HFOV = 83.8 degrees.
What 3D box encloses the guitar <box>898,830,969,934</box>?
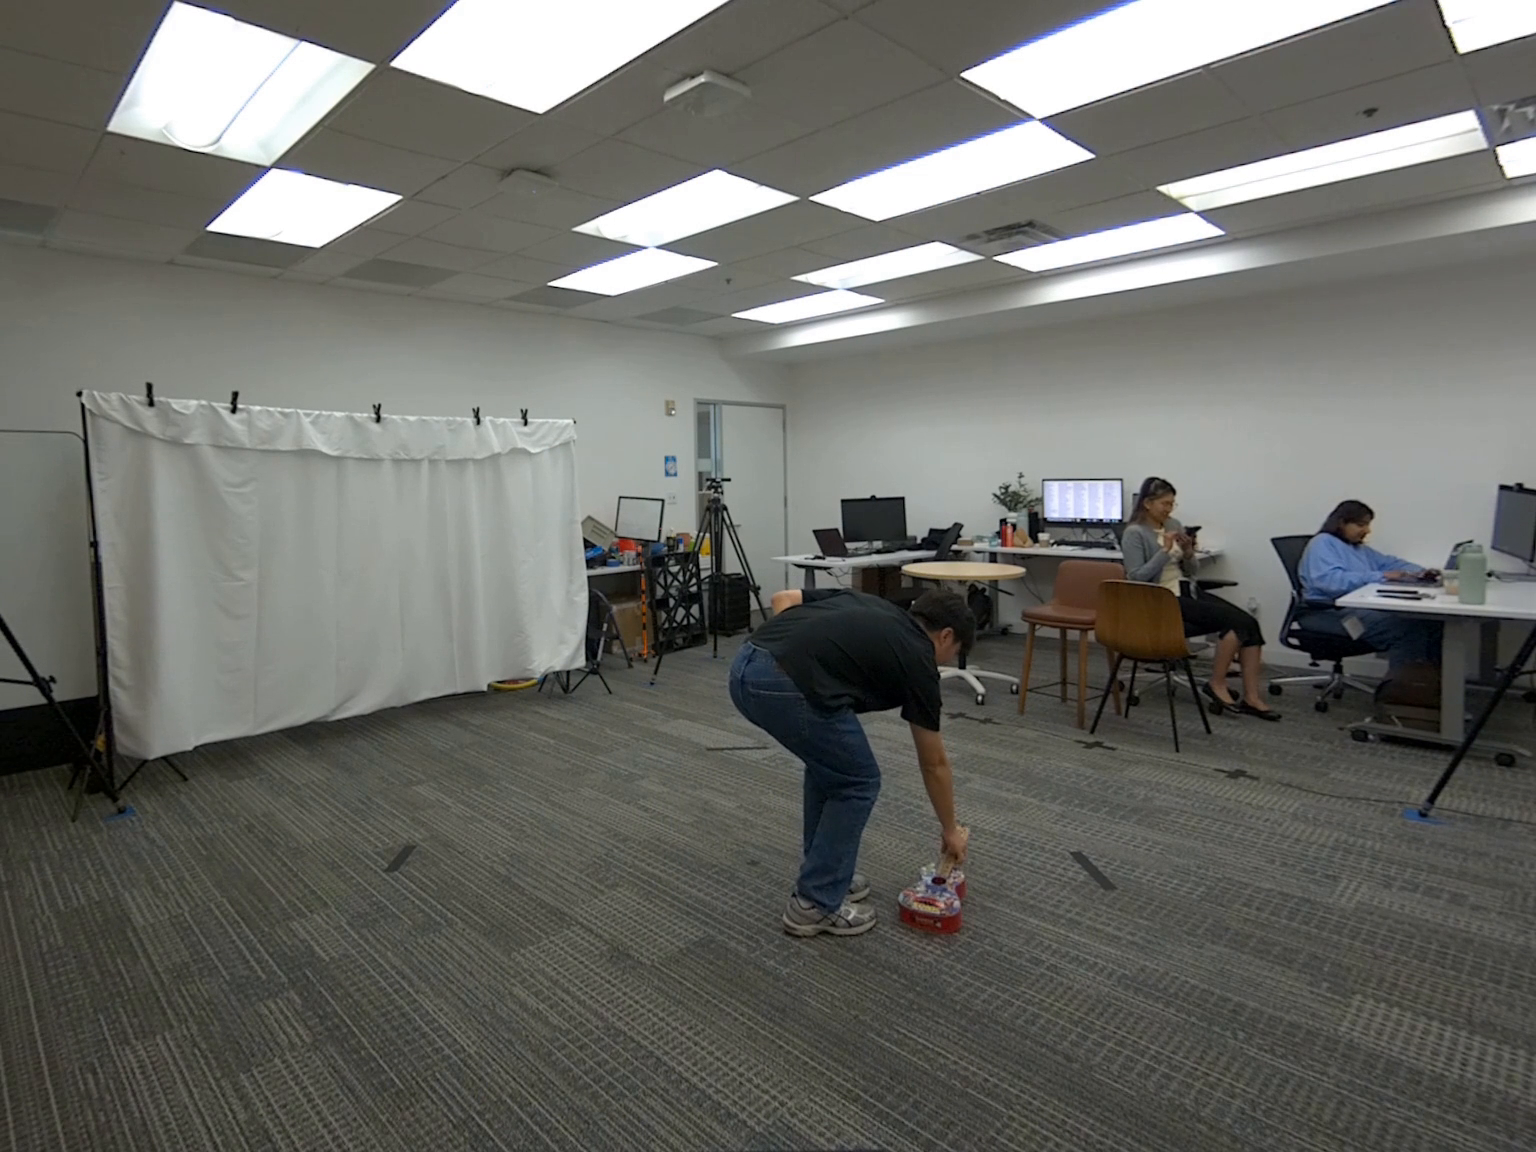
[{"bbox_3d":[0.611,0.984,2.805,0.199,0.070,0.490,4,18,36],"label":"guitar"}]
